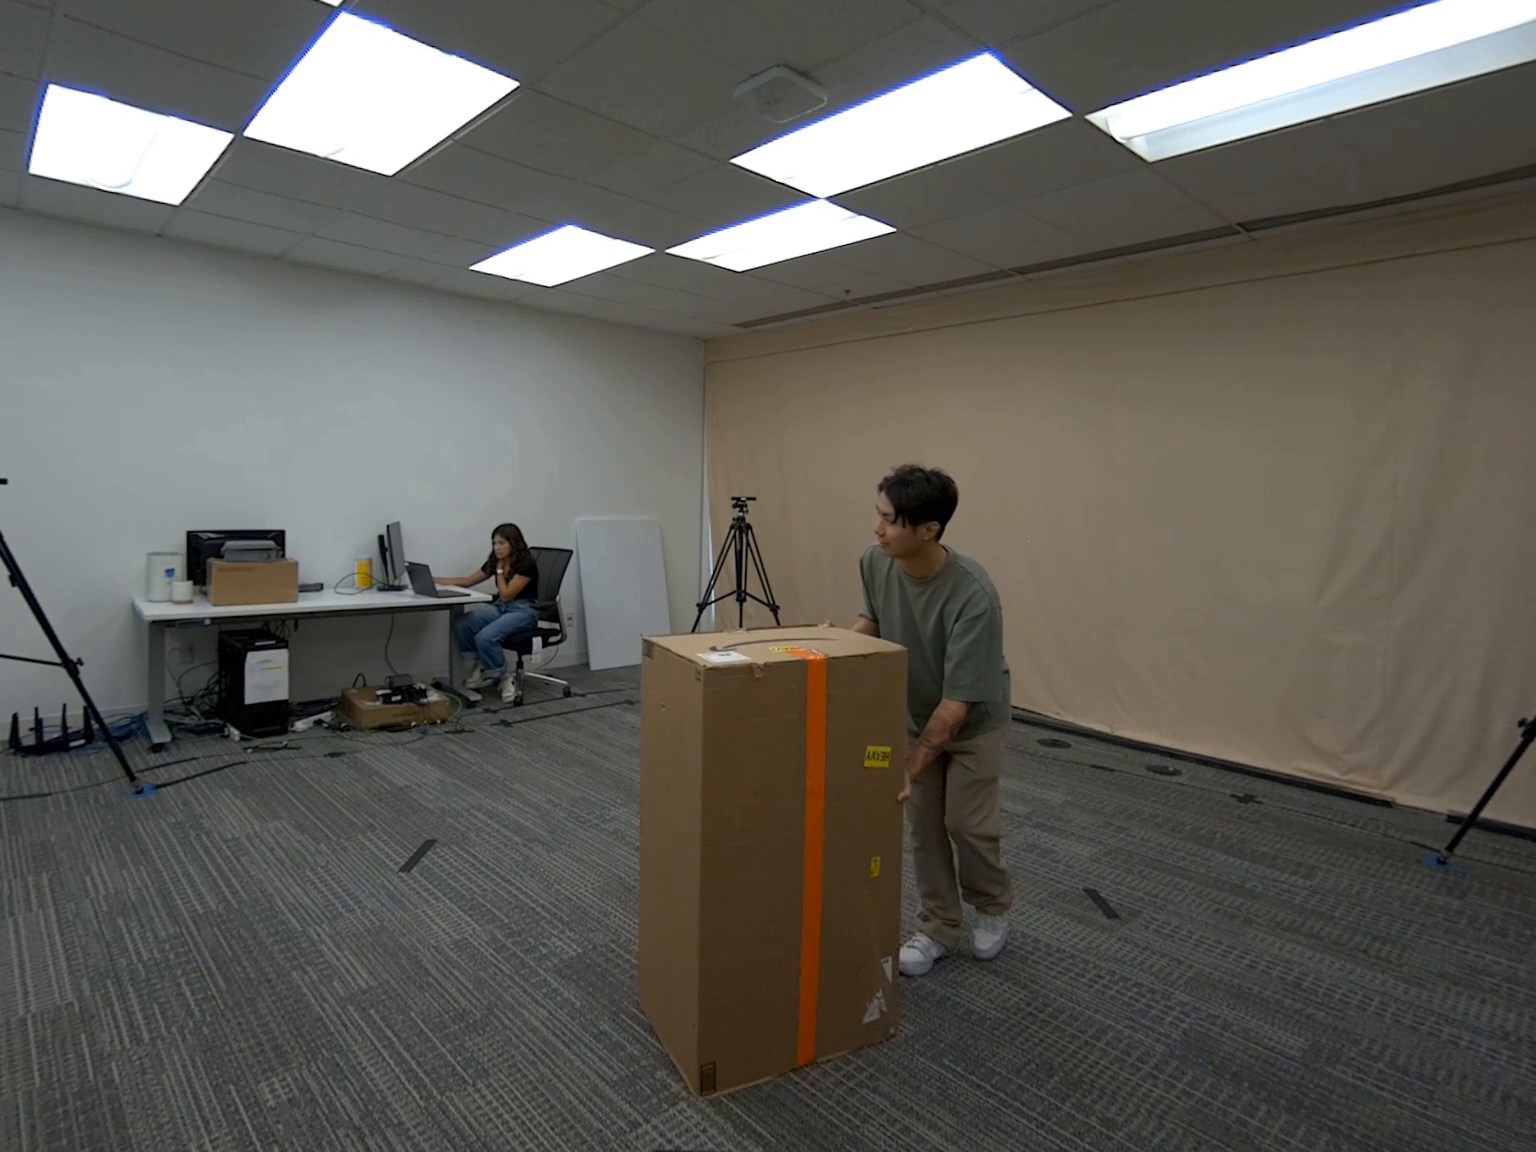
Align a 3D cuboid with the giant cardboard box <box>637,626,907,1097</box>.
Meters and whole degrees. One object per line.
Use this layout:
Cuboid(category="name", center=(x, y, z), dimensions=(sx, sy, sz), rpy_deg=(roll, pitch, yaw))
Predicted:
Cuboid(category="giant cardboard box", center=(-0.007, 0.685, 2.222), dimensions=(0.567, 1.023, 0.435), rpy_deg=(-1, 4, -27))
